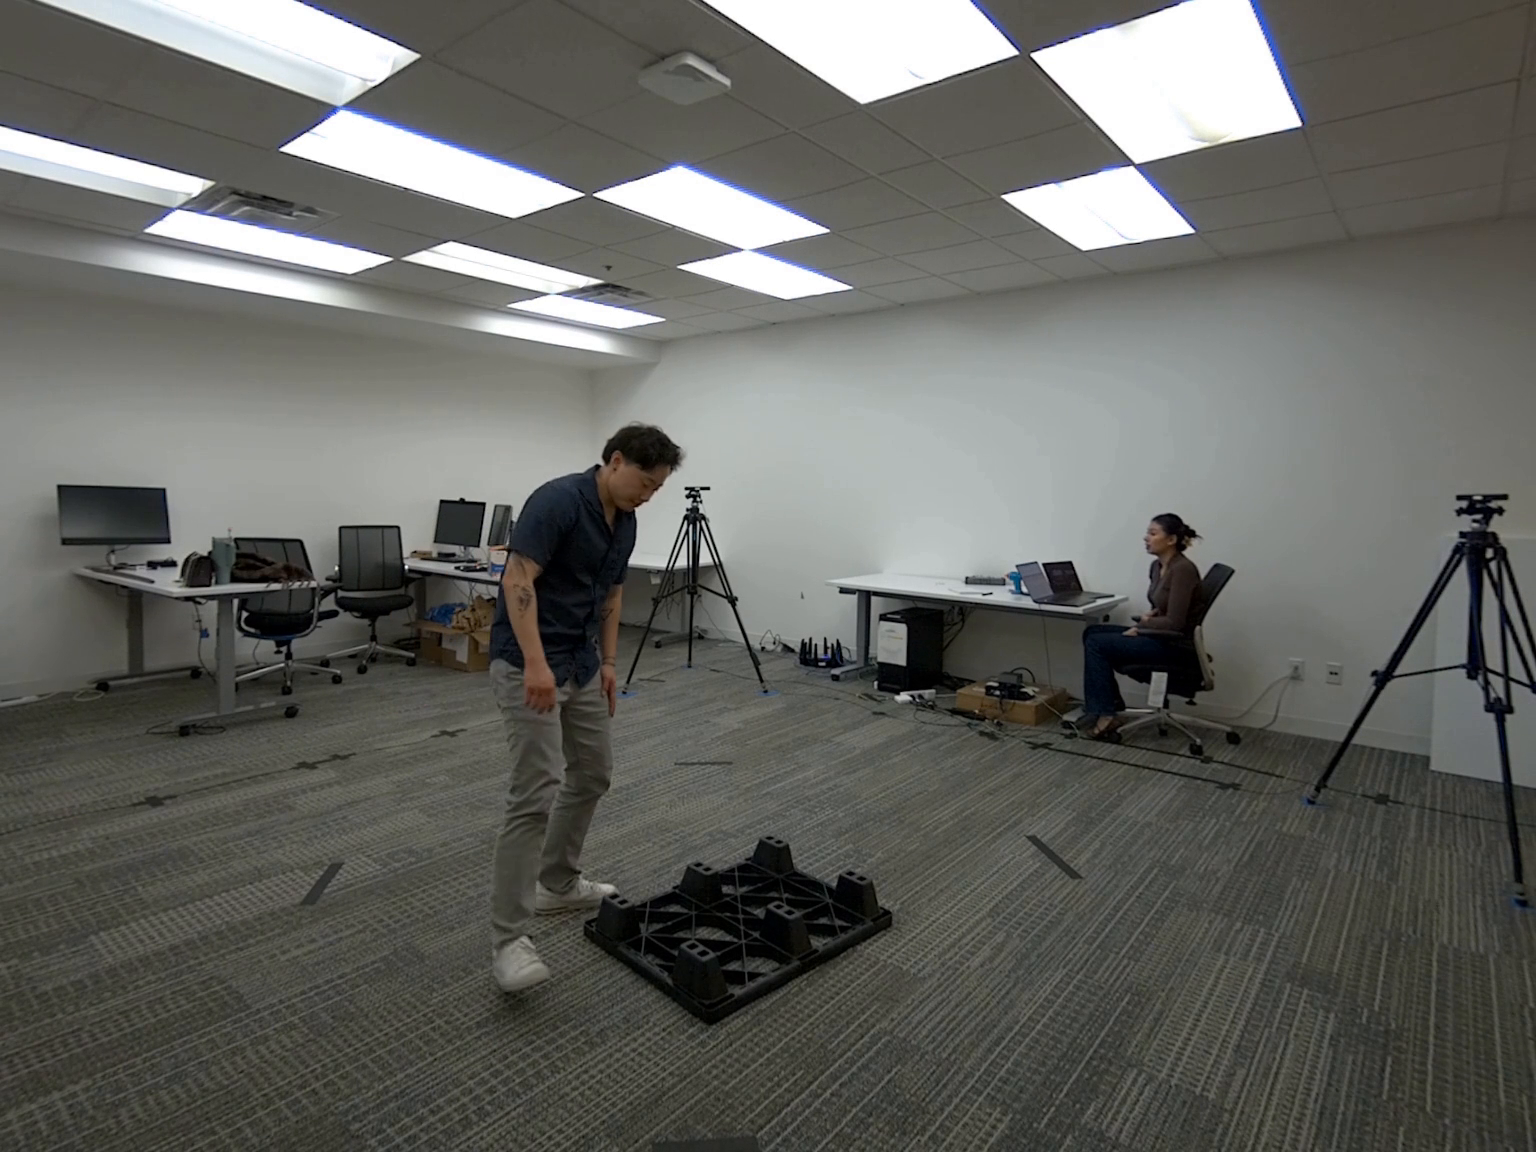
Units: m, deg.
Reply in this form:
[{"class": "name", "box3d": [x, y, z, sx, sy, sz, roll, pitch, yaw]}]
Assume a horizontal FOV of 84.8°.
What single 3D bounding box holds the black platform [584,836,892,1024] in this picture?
[{"class": "black platform", "box3d": [-0.093, 1.045, 2.671, 0.781, 0.143, 0.626, -5, 8, -44]}]
